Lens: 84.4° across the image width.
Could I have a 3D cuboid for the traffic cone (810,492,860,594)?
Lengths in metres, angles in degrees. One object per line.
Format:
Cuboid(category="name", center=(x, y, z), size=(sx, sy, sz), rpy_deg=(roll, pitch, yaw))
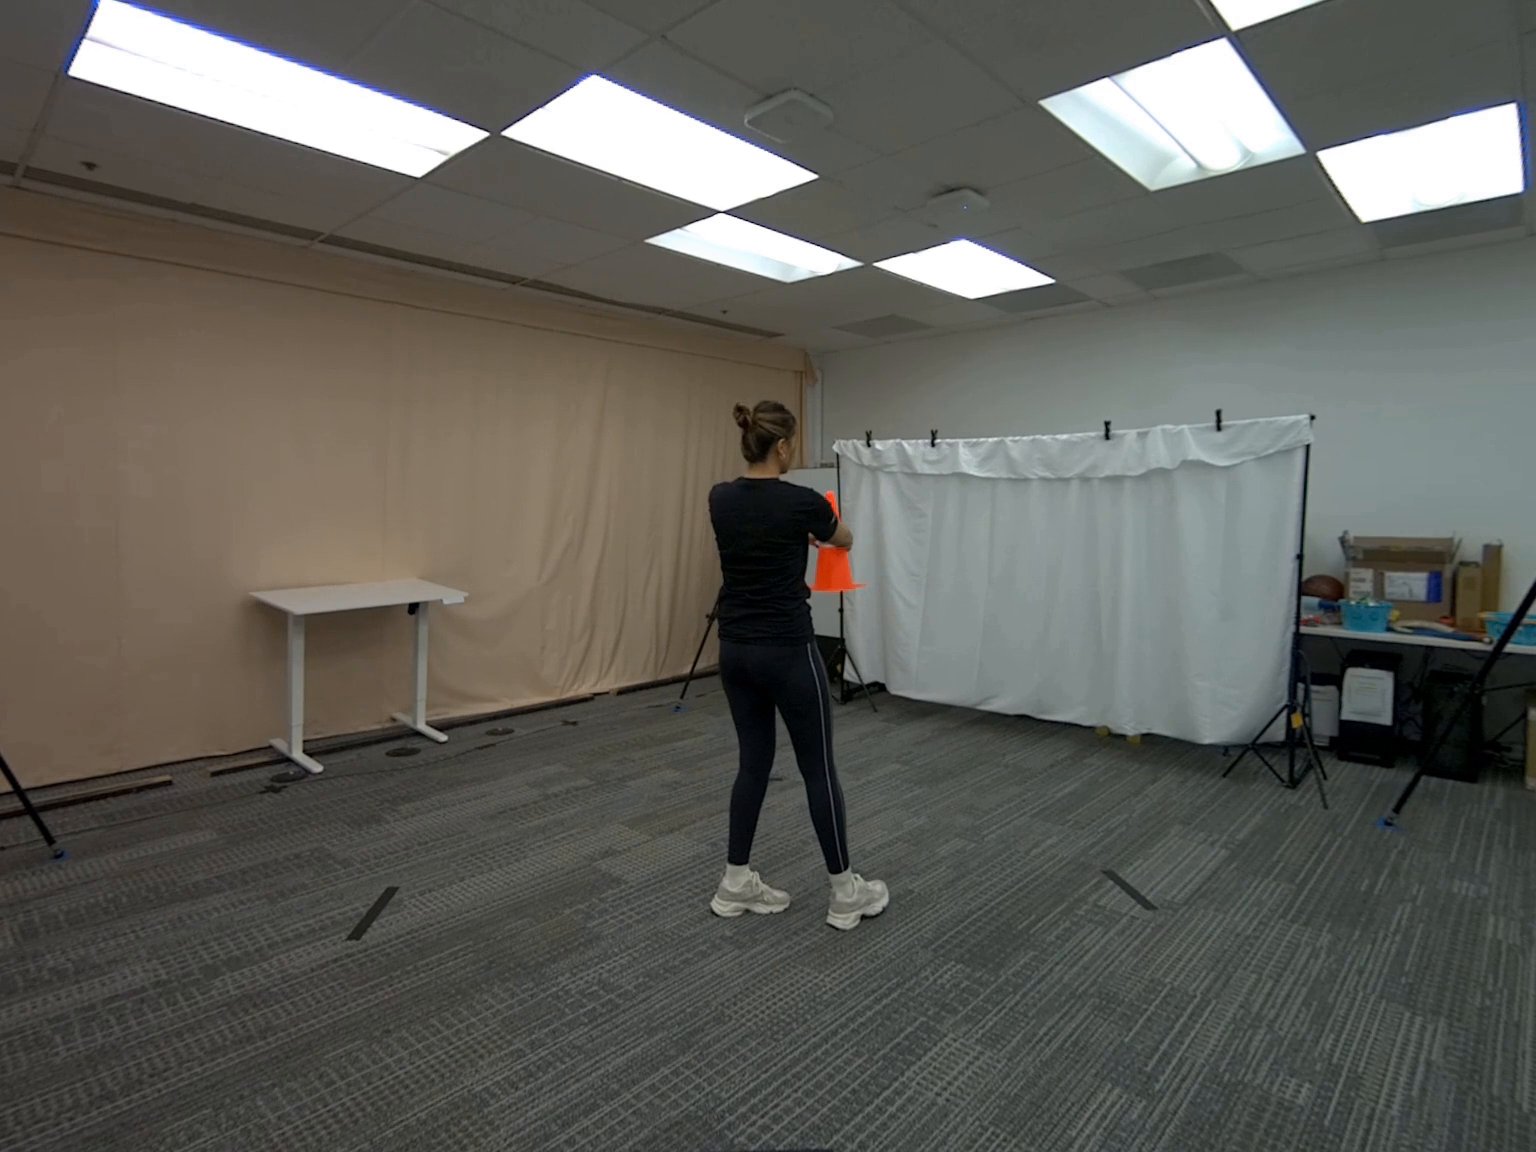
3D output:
Cuboid(category="traffic cone", center=(0.276, -0.143, 3.355), size=(0.207, 0.381, 0.202), rpy_deg=(0, 9, 17))
